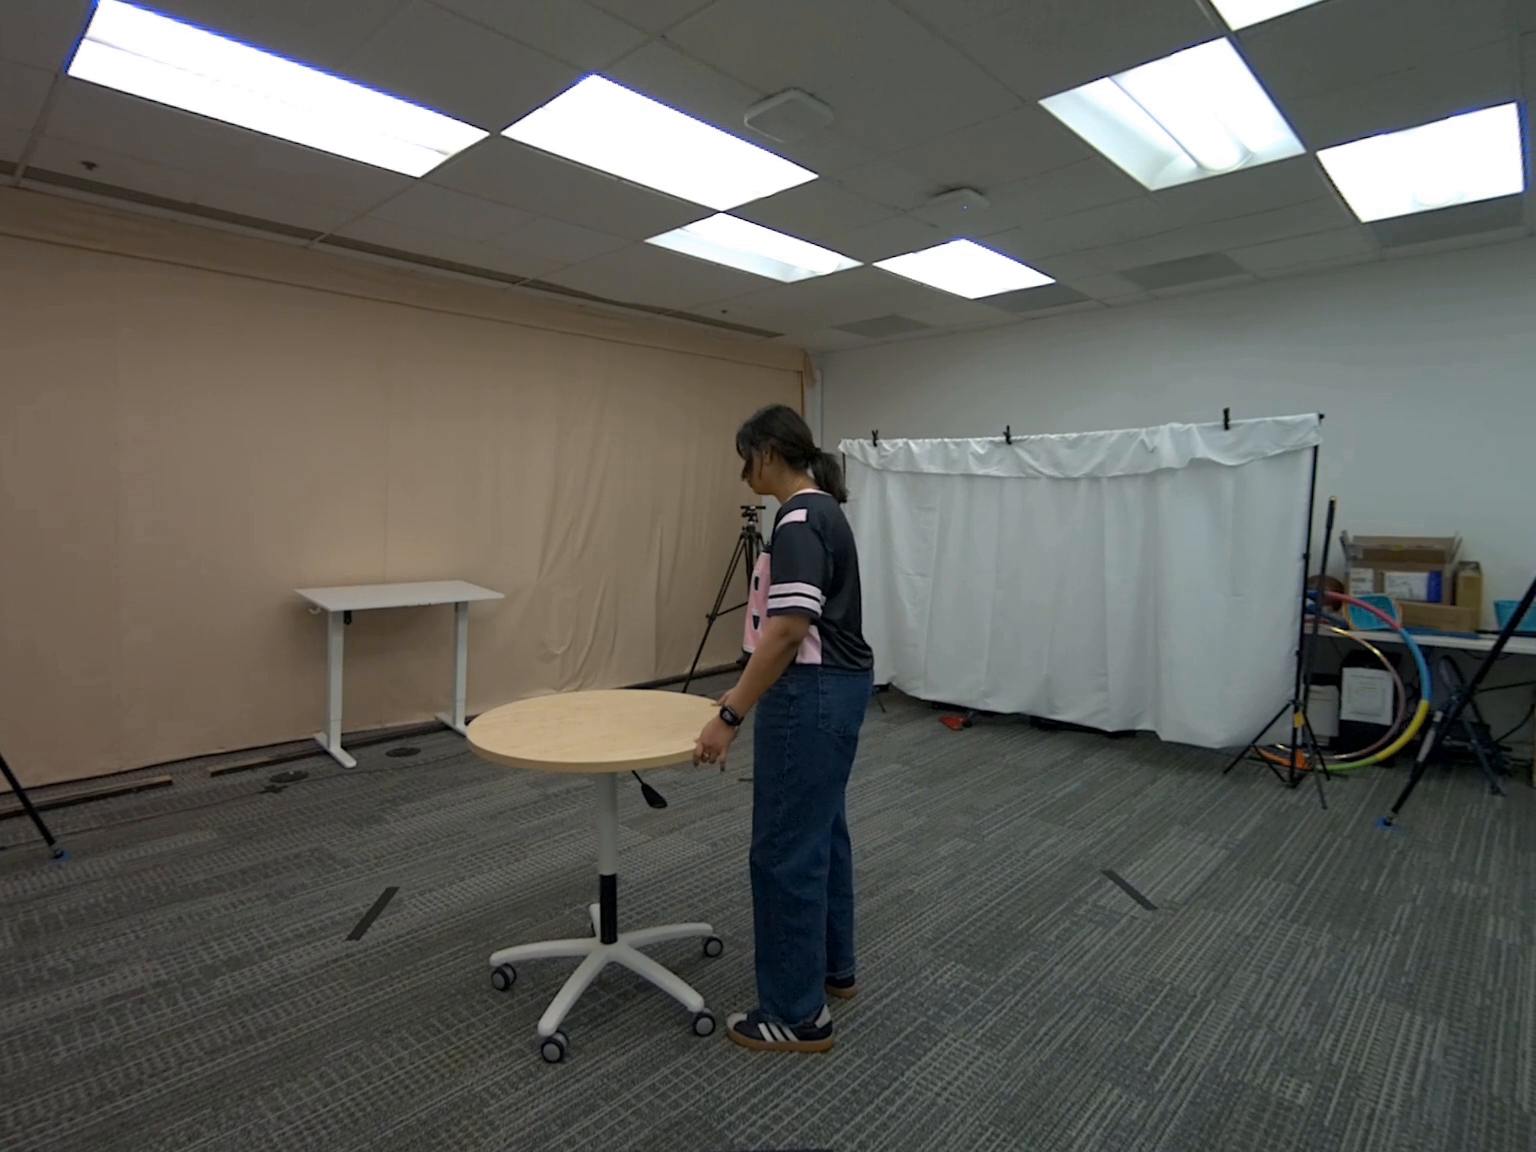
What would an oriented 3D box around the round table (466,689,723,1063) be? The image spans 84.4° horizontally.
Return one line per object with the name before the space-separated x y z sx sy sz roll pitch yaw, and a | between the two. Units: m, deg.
round table | -0.458 0.808 2.423 0.763 0.792 0.767 0 4 -2
